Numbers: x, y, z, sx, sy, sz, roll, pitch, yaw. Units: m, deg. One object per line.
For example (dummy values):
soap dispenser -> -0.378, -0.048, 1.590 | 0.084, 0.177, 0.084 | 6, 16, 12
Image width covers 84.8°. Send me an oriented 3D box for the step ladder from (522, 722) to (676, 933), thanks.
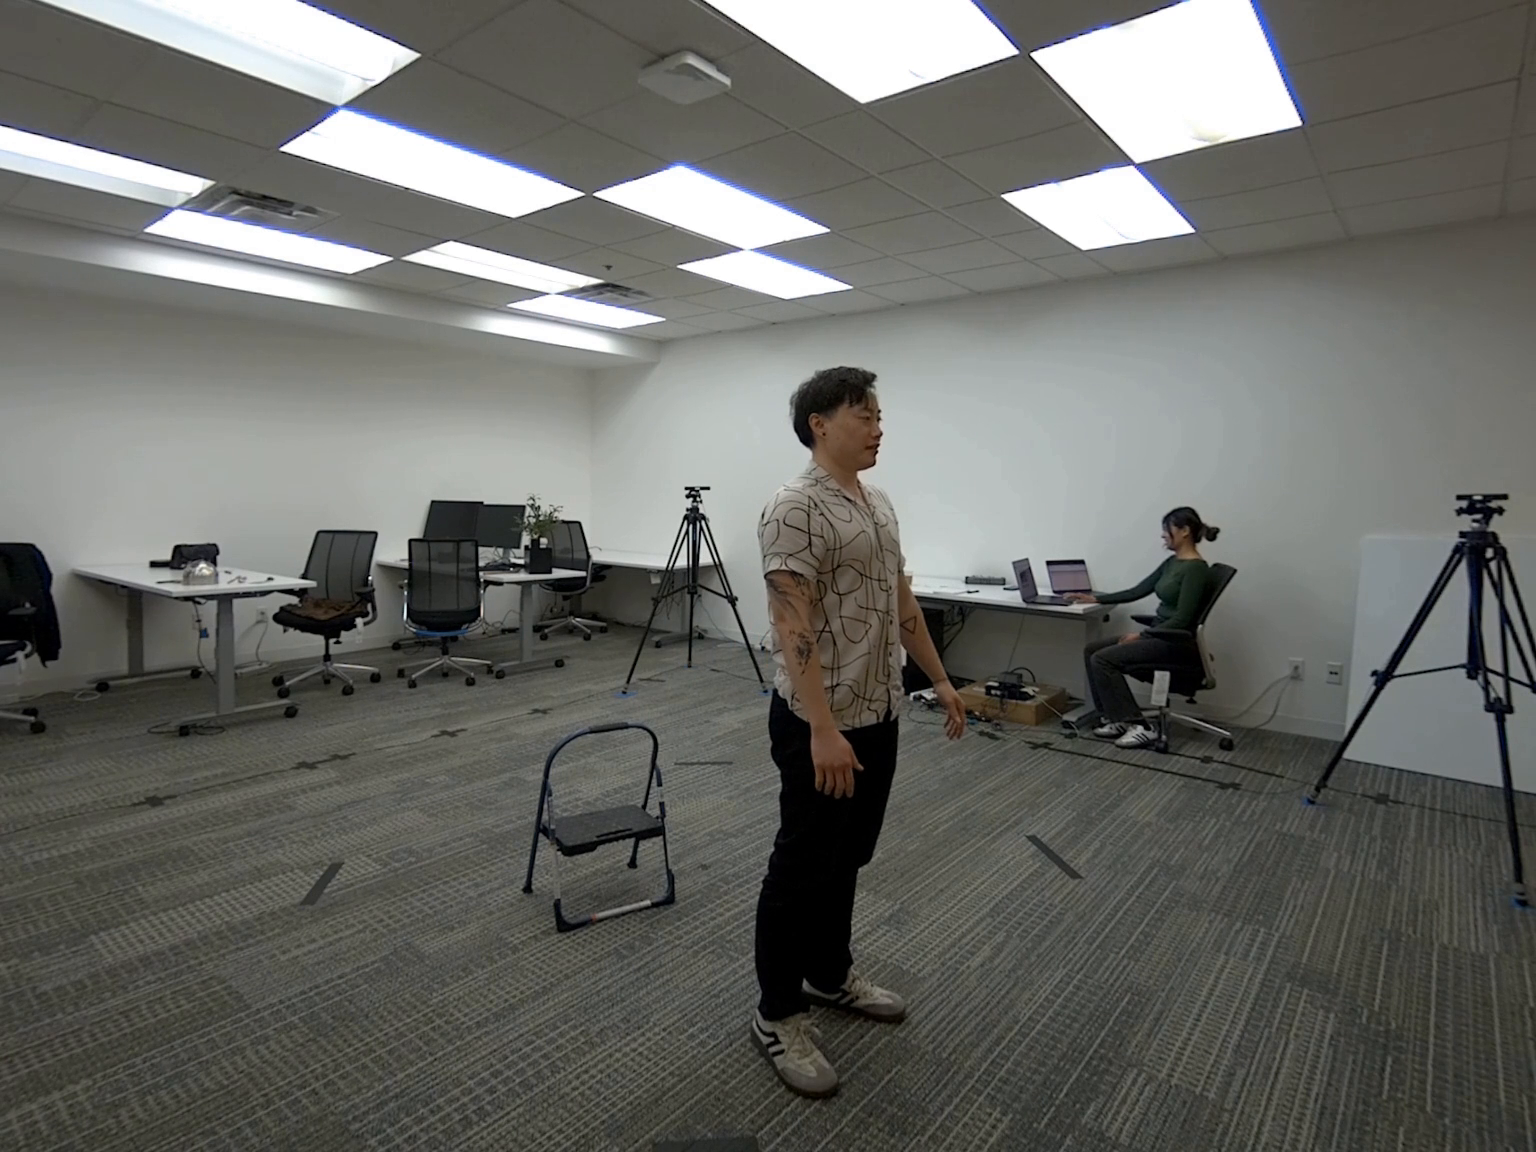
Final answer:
step ladder -> -0.581, 0.780, 2.870 | 0.418, 0.604, 0.360 | -2, 4, -33
